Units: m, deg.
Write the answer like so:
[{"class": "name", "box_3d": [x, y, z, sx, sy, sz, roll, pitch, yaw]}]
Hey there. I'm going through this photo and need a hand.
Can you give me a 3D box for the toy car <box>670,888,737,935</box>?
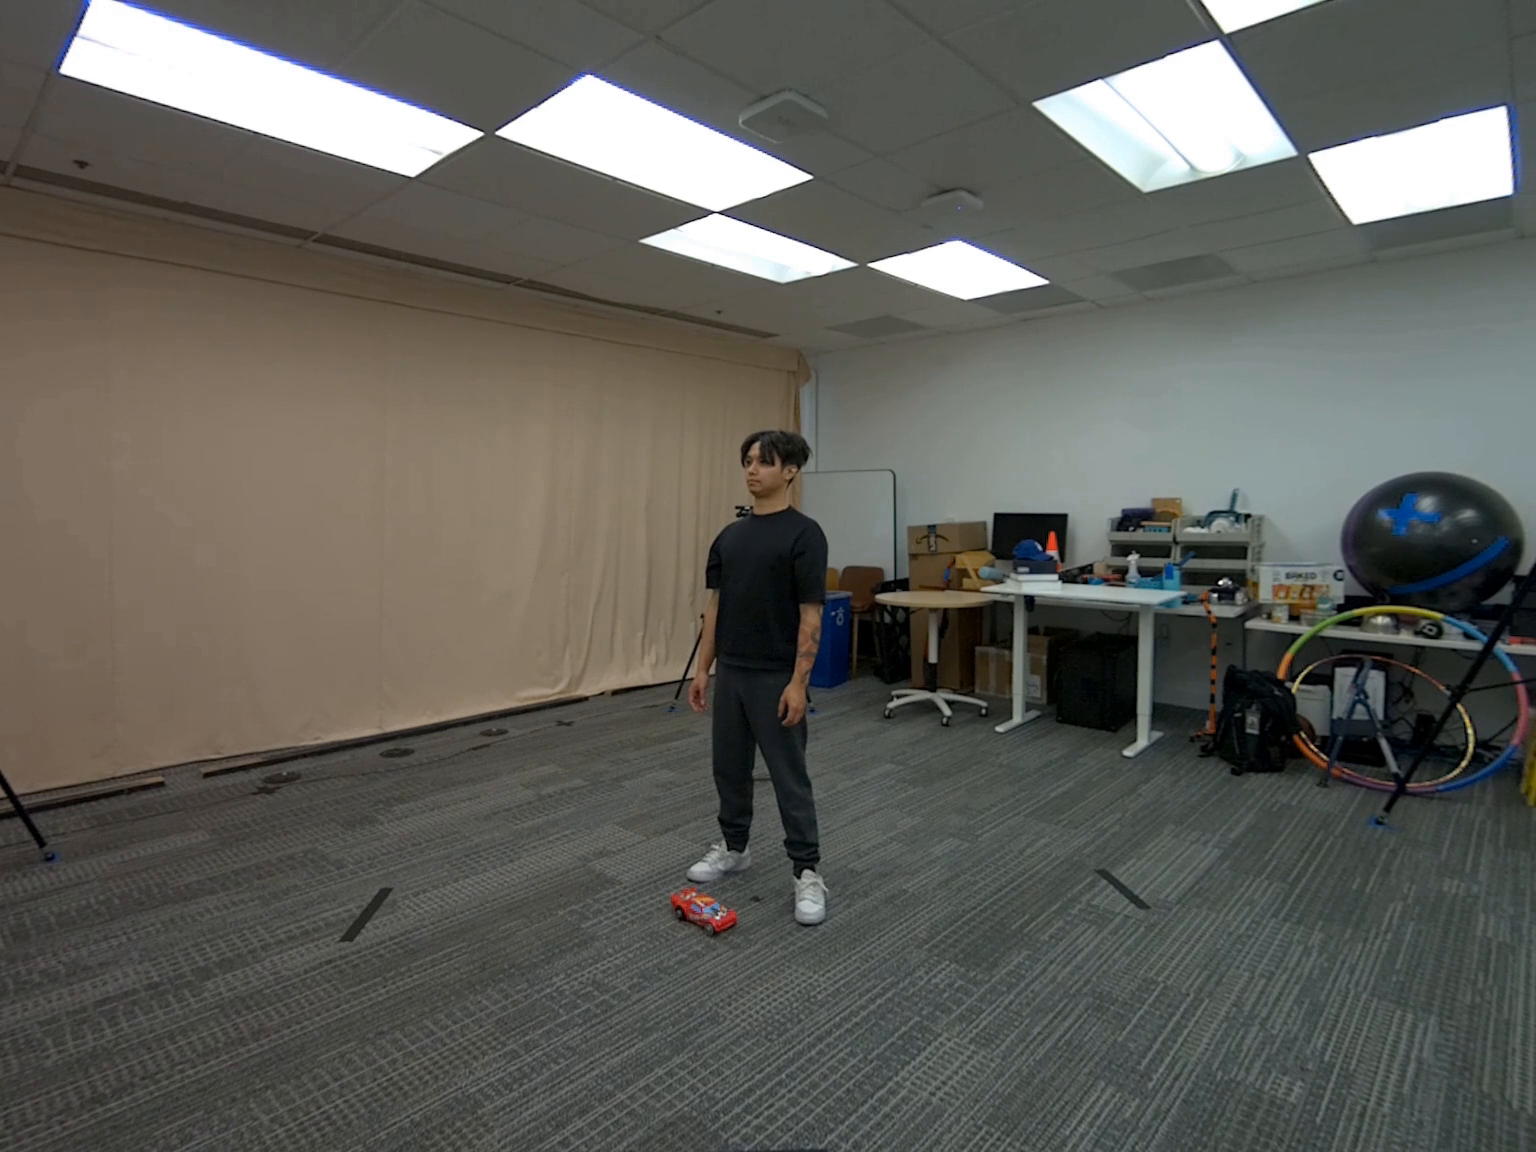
[{"class": "toy car", "box_3d": [-0.224, 1.128, 2.829, 0.126, 0.083, 0.264, -5, 17, -44]}]
